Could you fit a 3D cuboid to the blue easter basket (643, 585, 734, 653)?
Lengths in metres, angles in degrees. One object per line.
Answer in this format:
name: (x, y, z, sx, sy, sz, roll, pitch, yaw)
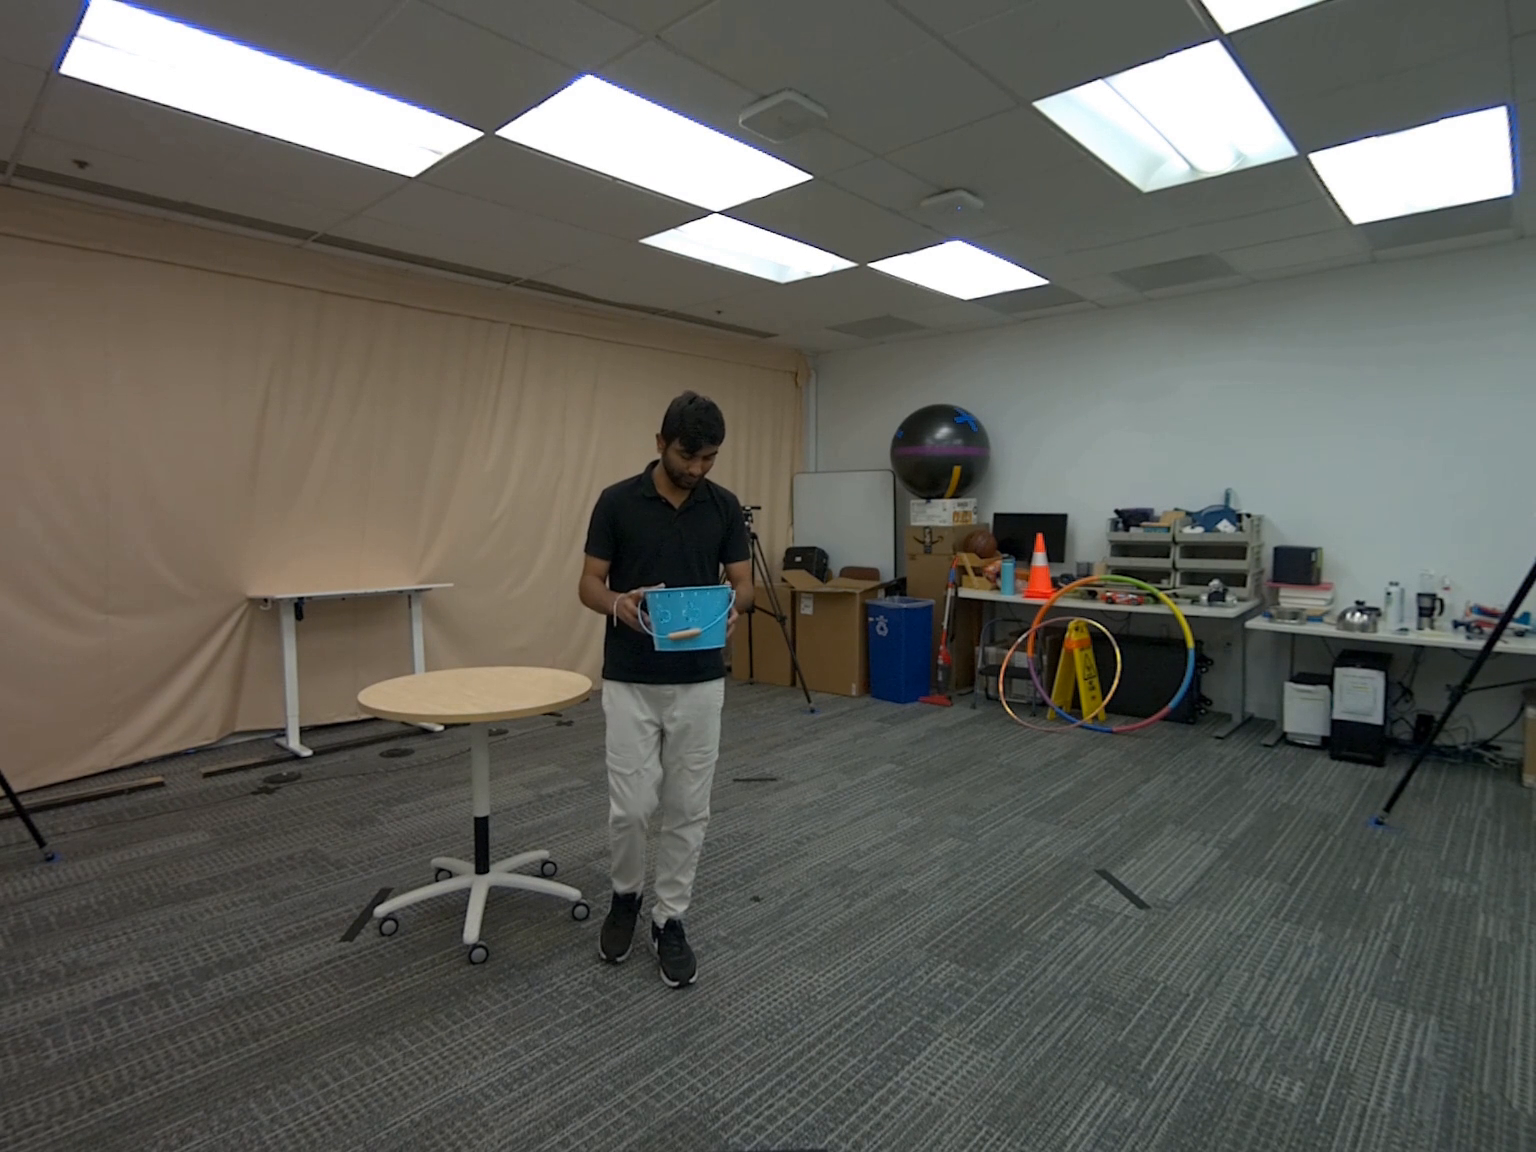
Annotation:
blue easter basket: (-0.207, 0.111, 2.155, 0.243, 0.156, 0.243, -2, -1, -2)
